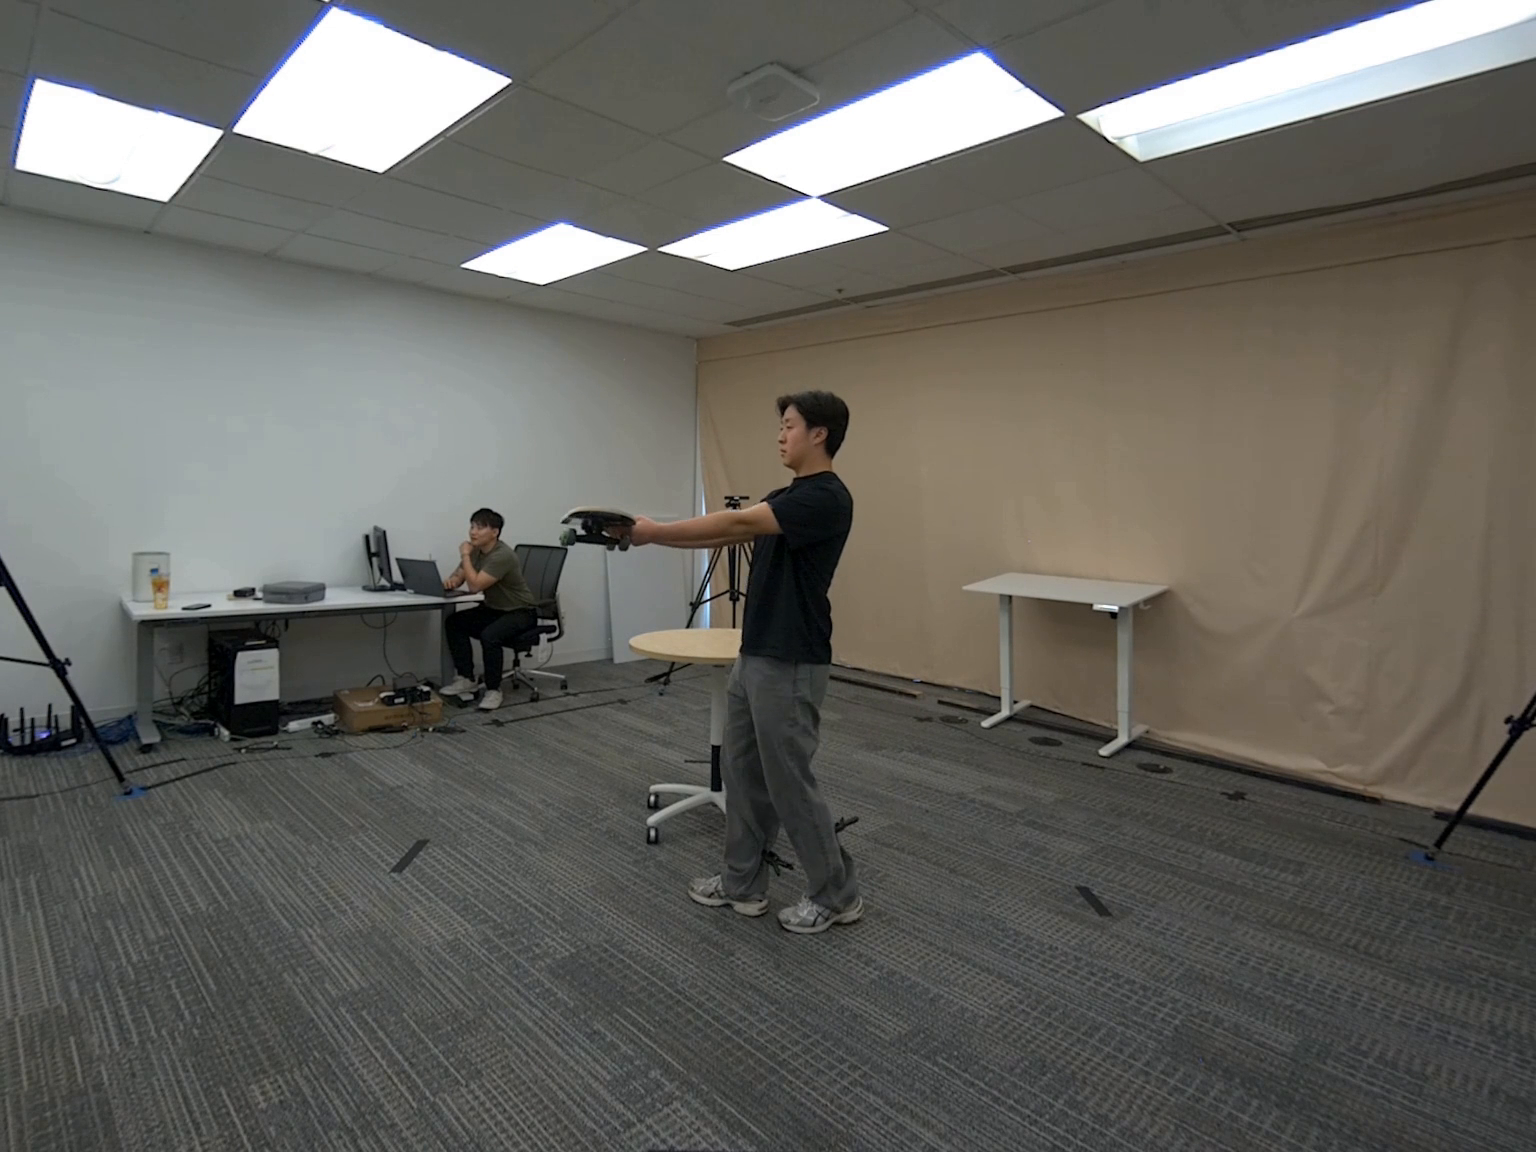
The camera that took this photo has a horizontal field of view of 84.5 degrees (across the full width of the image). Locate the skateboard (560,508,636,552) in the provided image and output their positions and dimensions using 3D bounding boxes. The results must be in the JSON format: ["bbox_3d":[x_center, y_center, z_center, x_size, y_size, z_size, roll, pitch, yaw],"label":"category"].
[{"bbox_3d":[-0.547,-0.138,2.589,0.191,0.110,0.795,6,-1,-16],"label":"skateboard"}]
